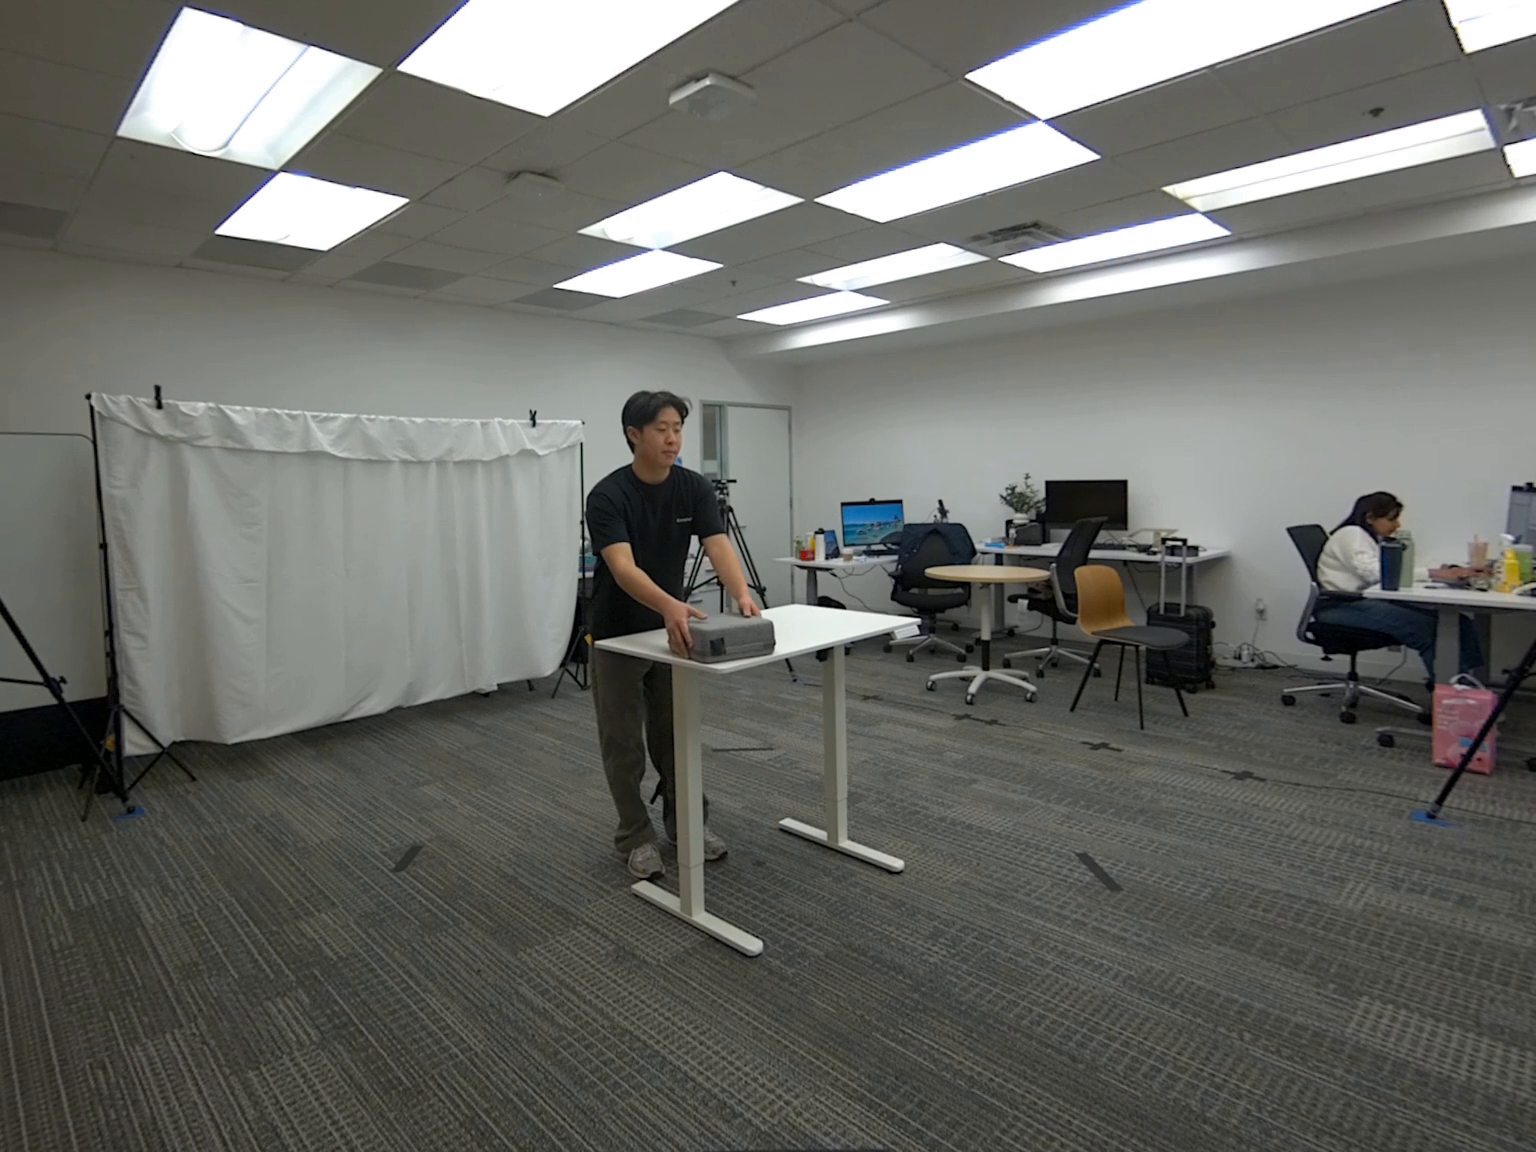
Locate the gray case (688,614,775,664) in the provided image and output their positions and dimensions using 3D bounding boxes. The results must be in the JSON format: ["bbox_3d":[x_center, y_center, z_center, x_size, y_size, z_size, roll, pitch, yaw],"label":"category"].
[{"bbox_3d":[-0.144,0.183,2.562,0.251,0.104,0.268,-6,8,-31],"label":"gray case"}]
